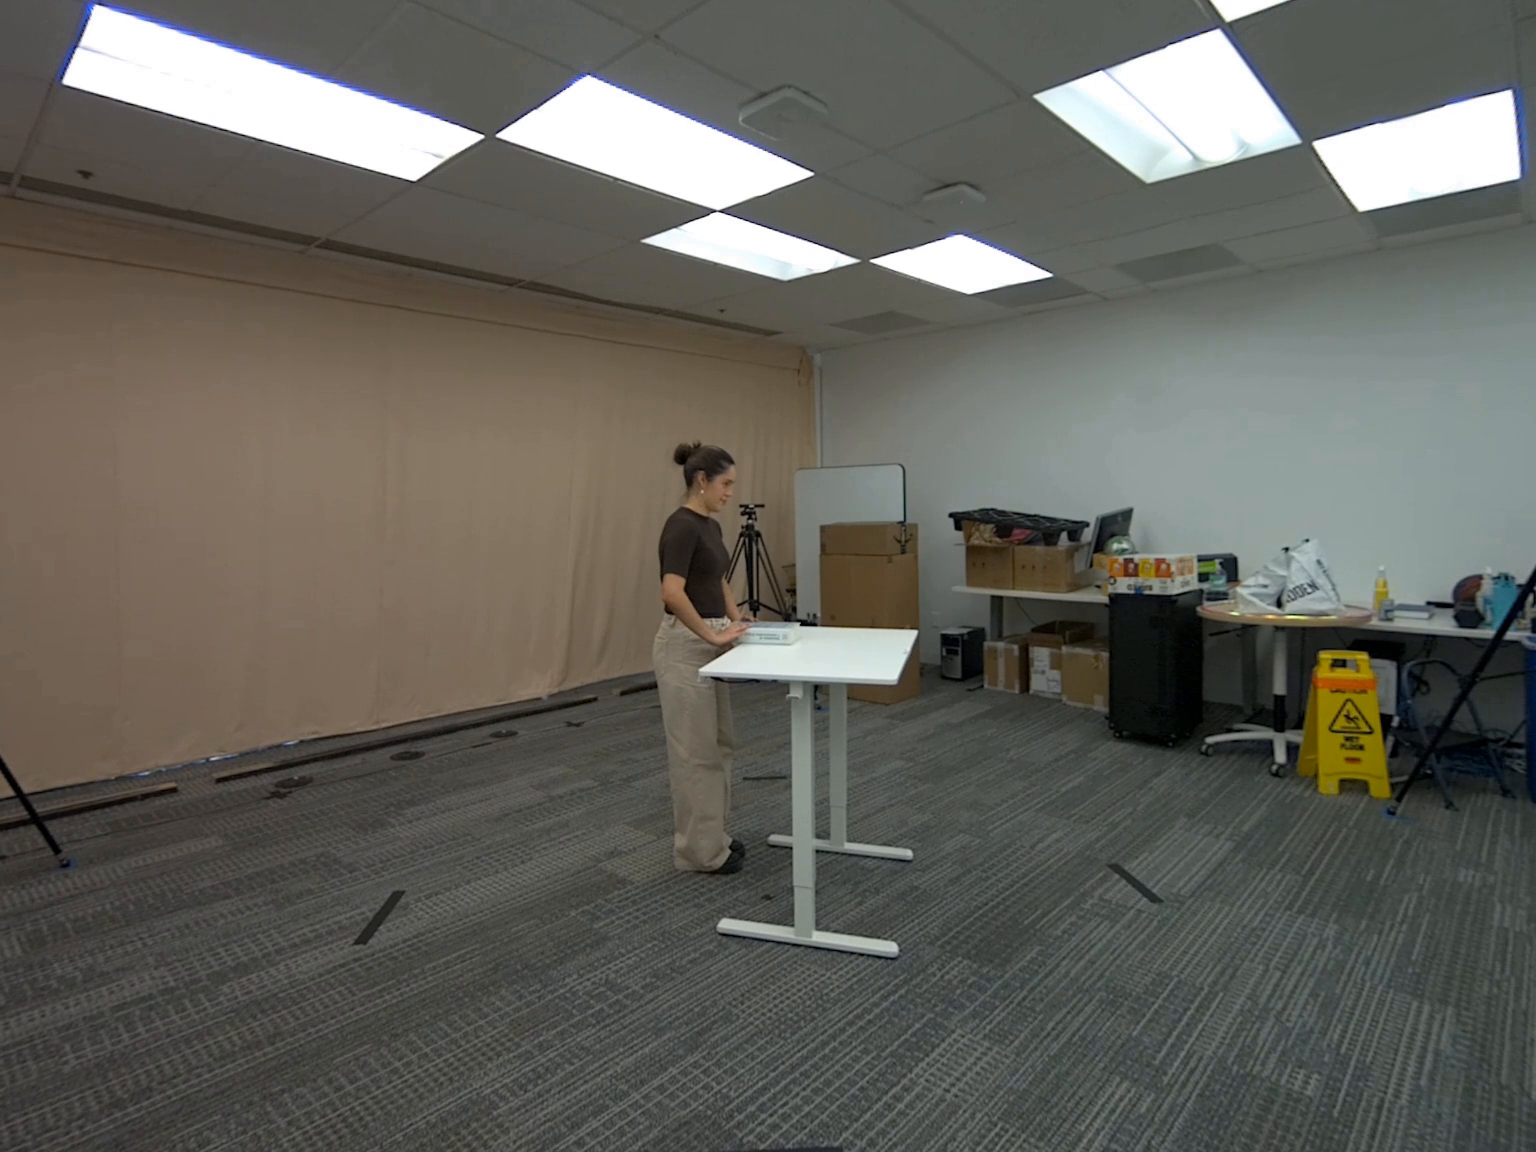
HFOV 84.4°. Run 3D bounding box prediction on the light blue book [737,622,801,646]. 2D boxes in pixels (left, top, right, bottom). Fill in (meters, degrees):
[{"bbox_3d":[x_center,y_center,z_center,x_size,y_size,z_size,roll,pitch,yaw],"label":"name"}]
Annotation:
[{"bbox_3d":[-0.016,0.213,3.164,0.265,0.059,0.188,-1,3,16],"label":"light blue book"}]
